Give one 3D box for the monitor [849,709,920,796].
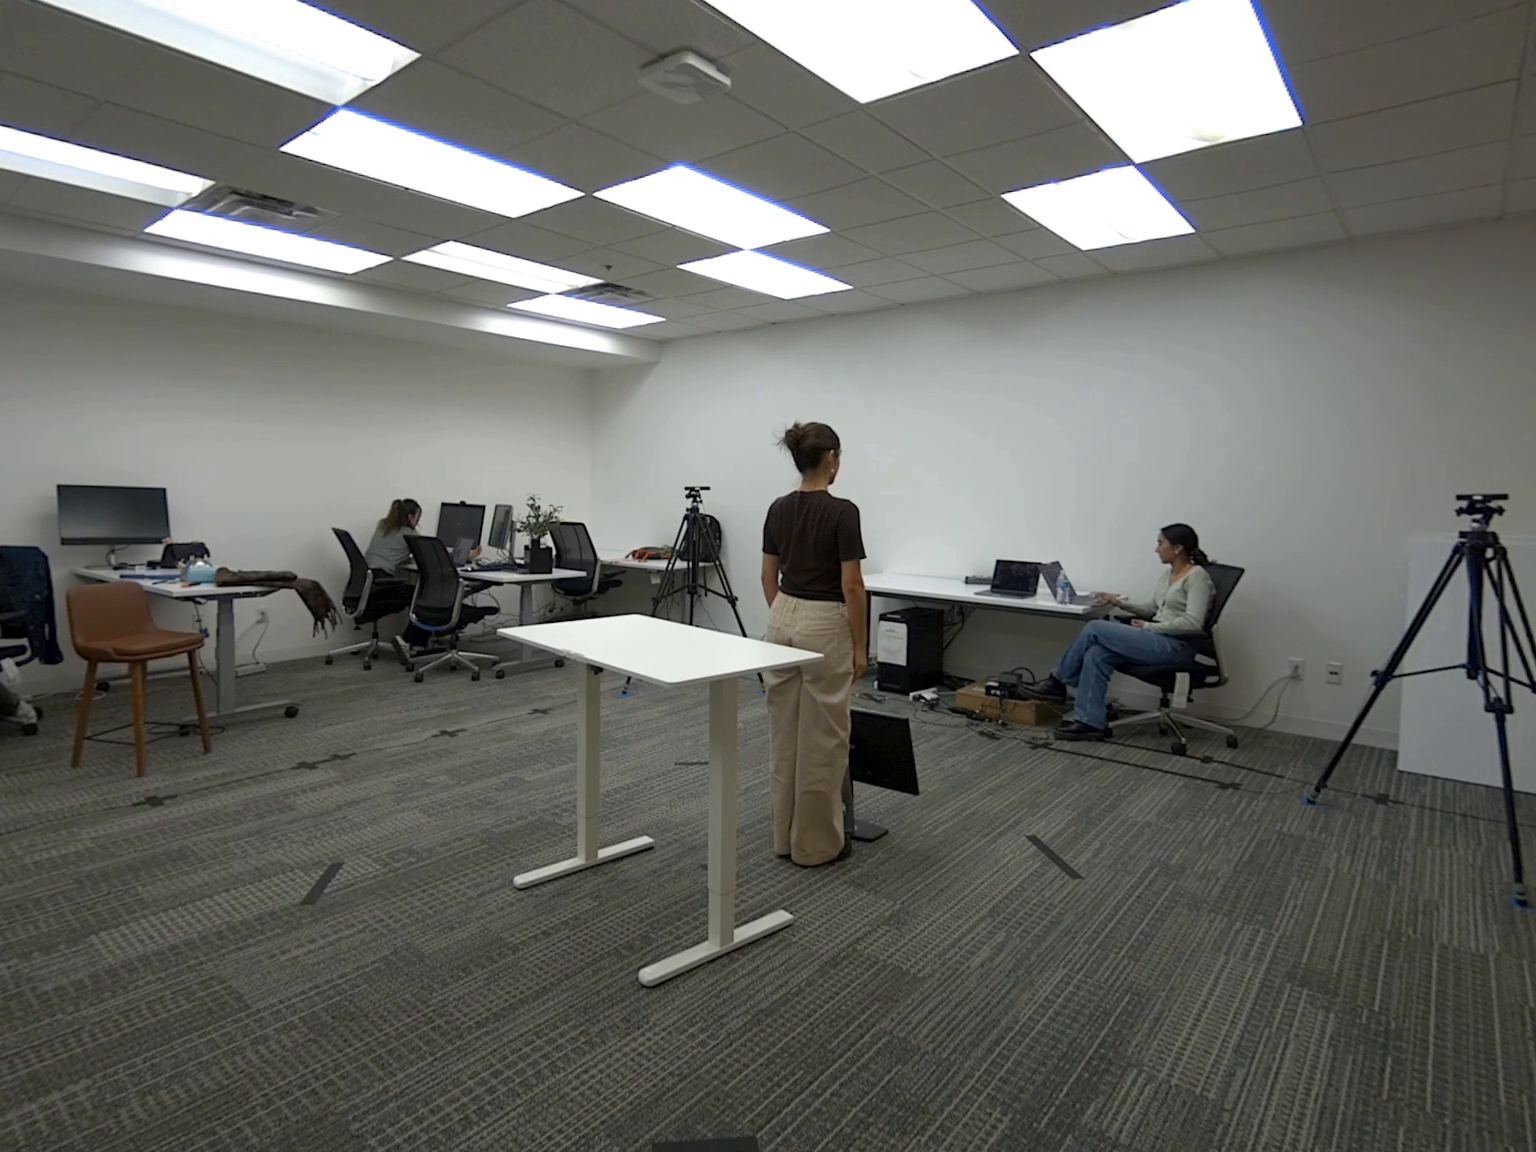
[{"bbox_3d":[0.324,0.784,3.473,0.556,0.520,0.182,3,6,35],"label":"monitor"}]
